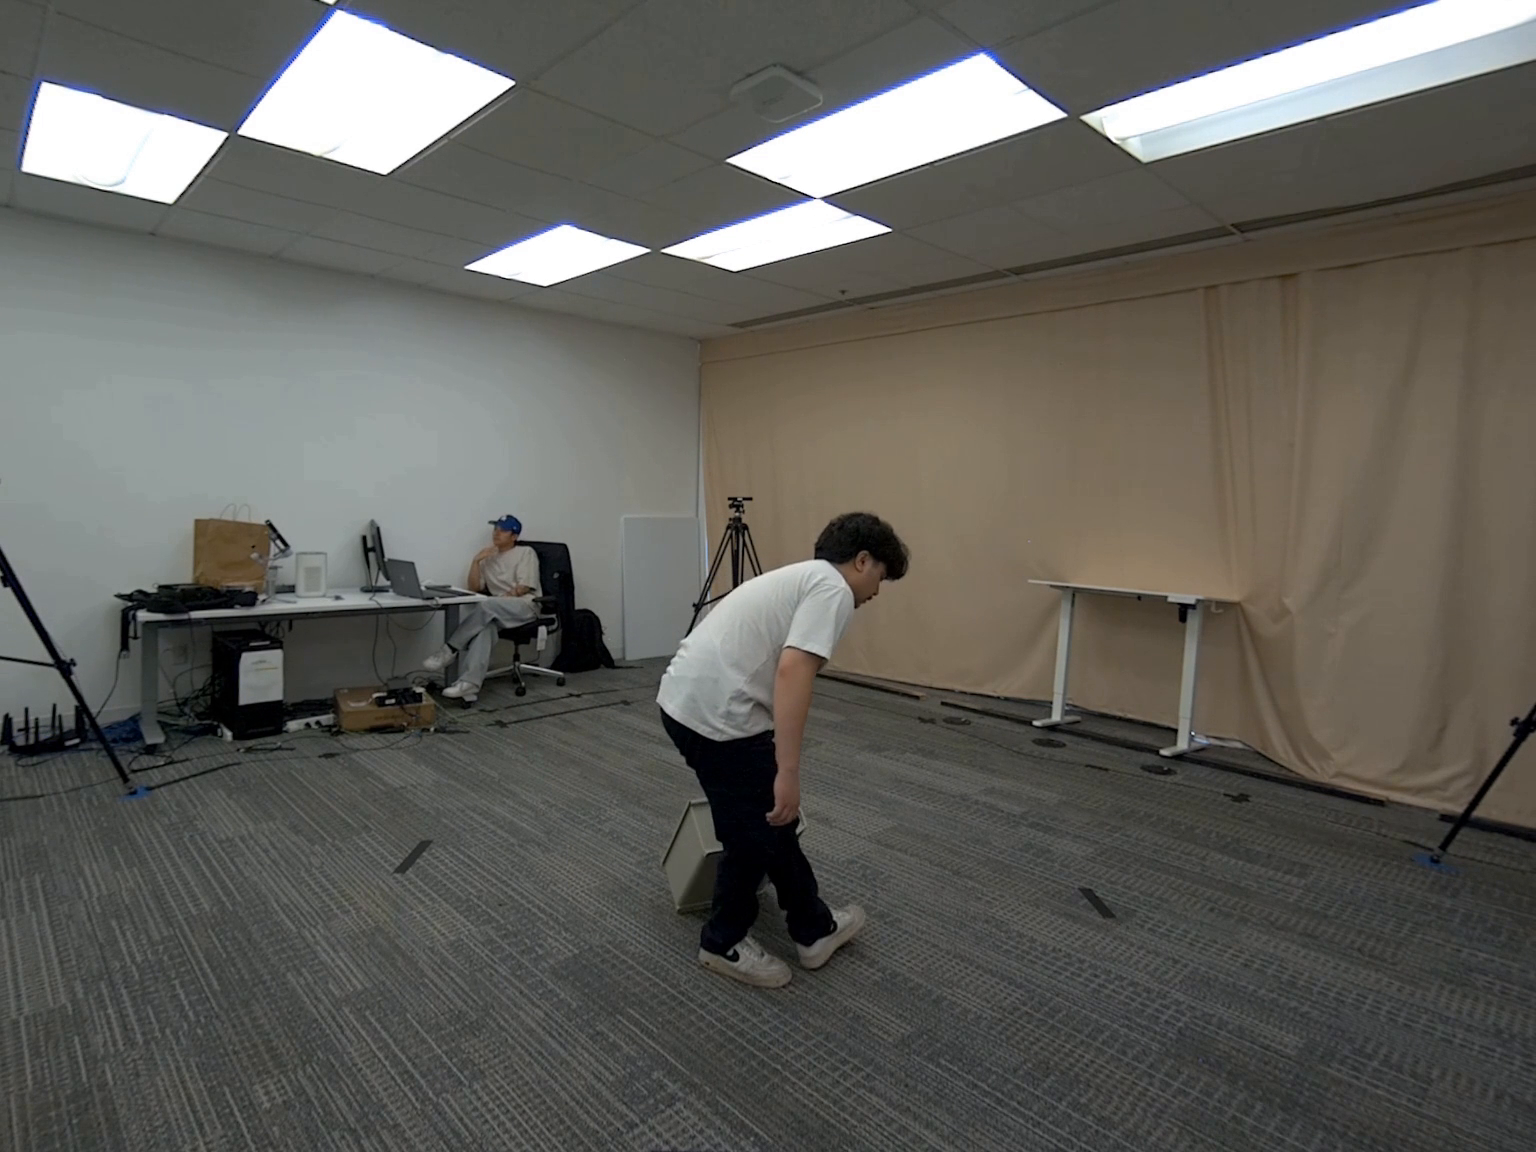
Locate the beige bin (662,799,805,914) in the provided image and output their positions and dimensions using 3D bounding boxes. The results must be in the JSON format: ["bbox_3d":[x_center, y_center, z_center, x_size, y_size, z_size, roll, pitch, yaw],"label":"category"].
[{"bbox_3d":[-0.121,0.917,2.819,0.371,0.417,0.194,-2,47,-24],"label":"beige bin"}]
